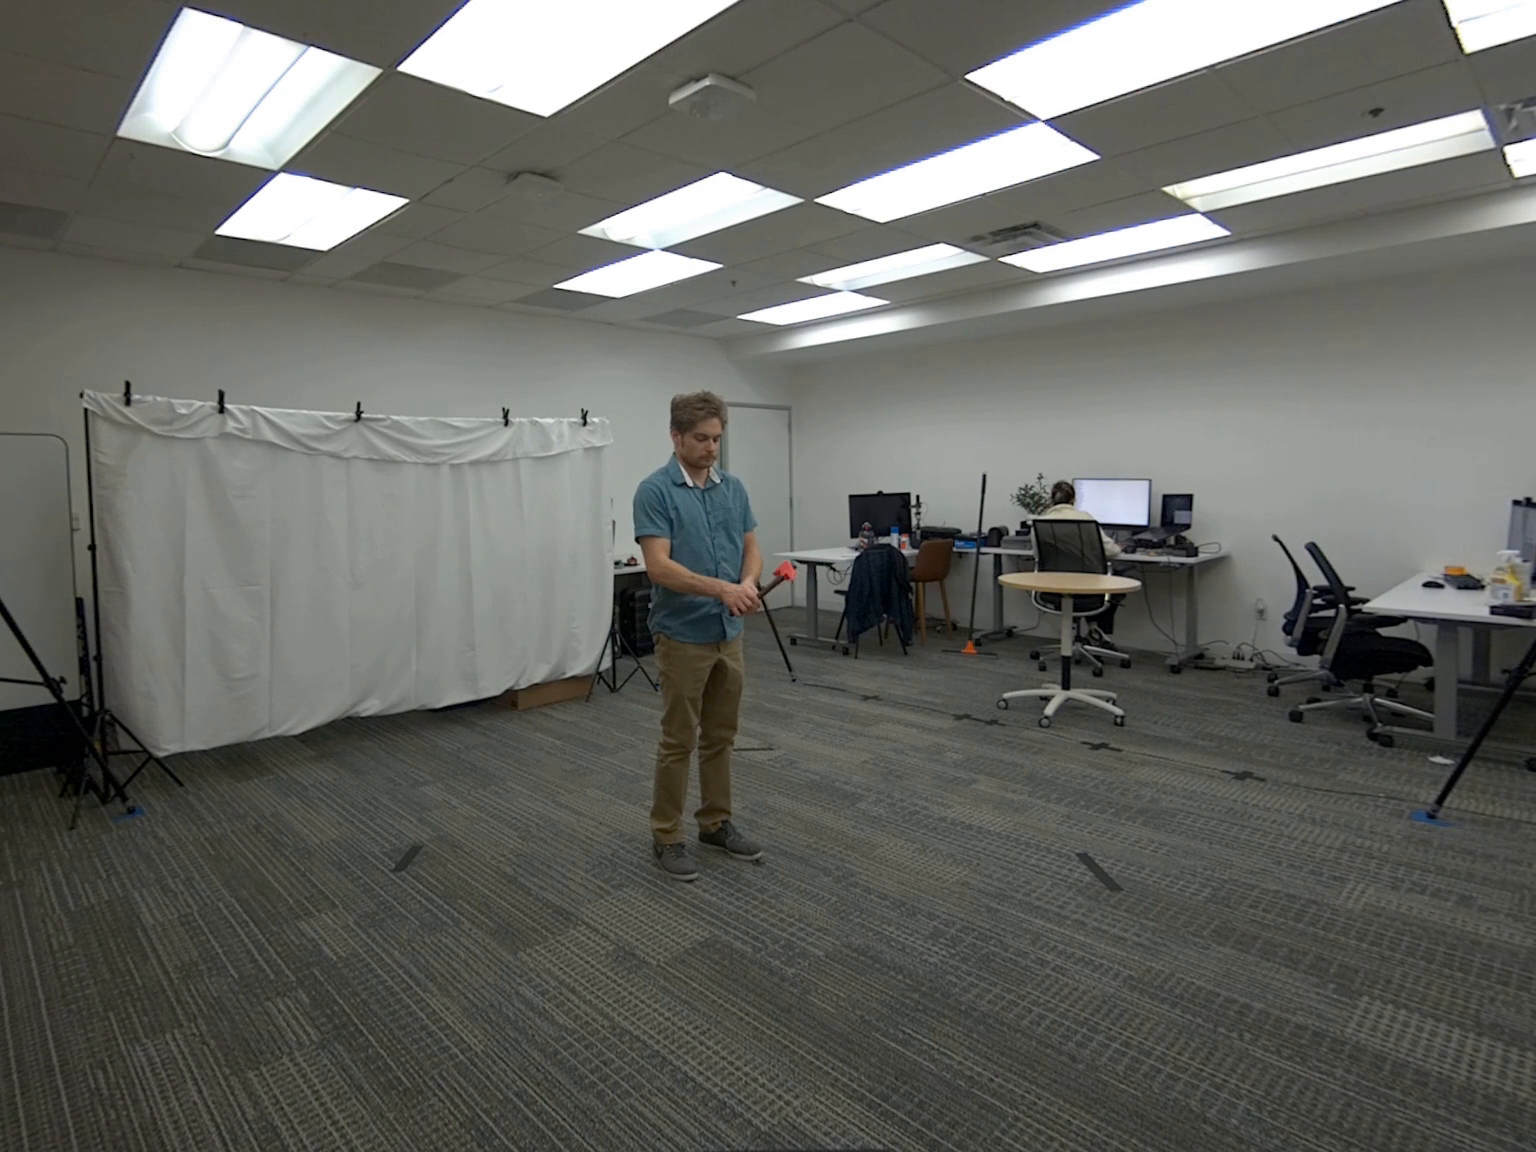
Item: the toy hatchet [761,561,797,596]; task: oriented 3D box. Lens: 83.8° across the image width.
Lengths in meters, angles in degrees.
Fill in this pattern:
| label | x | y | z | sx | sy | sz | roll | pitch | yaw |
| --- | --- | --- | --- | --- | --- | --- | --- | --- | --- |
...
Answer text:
| label | x | y | z | sx | sy | sz | roll | pitch | yaw |
| --- | --- | --- | --- | --- | --- | --- | --- | --- | --- |
| toy hatchet | -0.019 | 0.030 | 2.760 | 0.272 | 0.029 | 0.134 | -31 | 32 | 29 |
